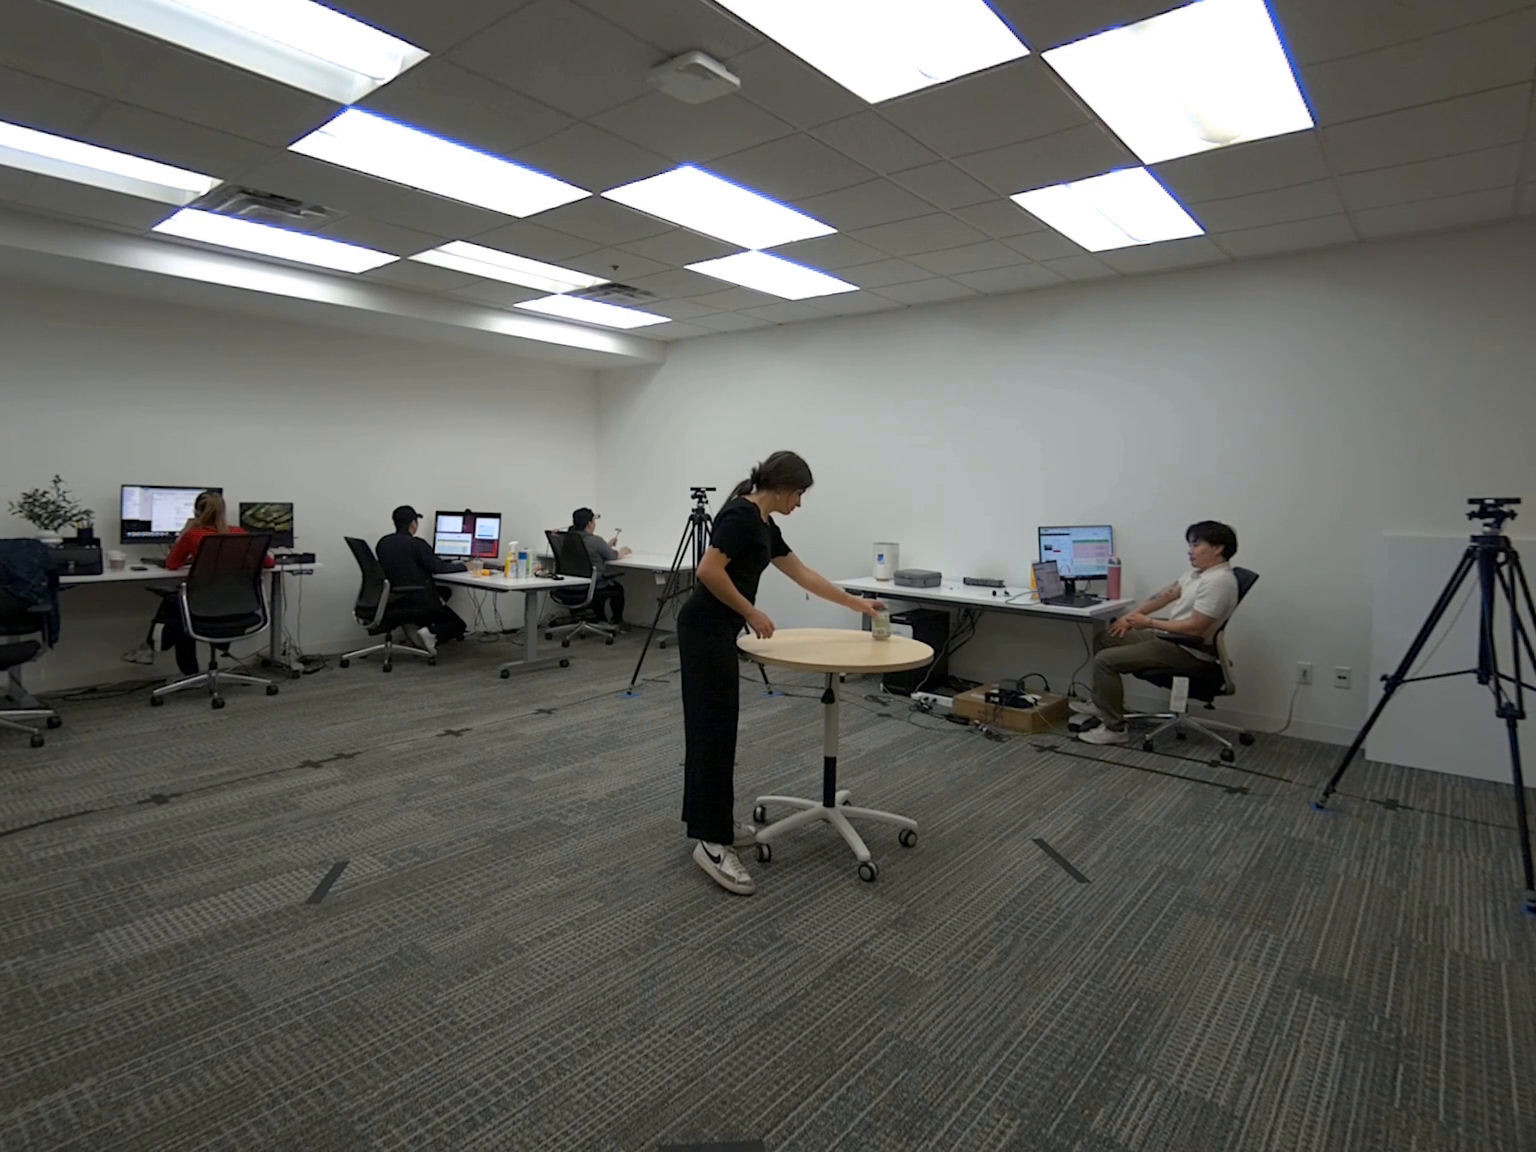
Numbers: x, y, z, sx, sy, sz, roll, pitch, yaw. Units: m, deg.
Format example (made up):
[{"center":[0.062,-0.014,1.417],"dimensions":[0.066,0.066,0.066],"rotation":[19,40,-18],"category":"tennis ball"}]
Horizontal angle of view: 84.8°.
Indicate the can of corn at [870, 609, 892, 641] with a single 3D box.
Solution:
[{"center":[0.452,0.192,3.487],"dimensions":[0.074,0.110,0.075],"rotation":[-2,6,-2],"category":"can of corn"}]
